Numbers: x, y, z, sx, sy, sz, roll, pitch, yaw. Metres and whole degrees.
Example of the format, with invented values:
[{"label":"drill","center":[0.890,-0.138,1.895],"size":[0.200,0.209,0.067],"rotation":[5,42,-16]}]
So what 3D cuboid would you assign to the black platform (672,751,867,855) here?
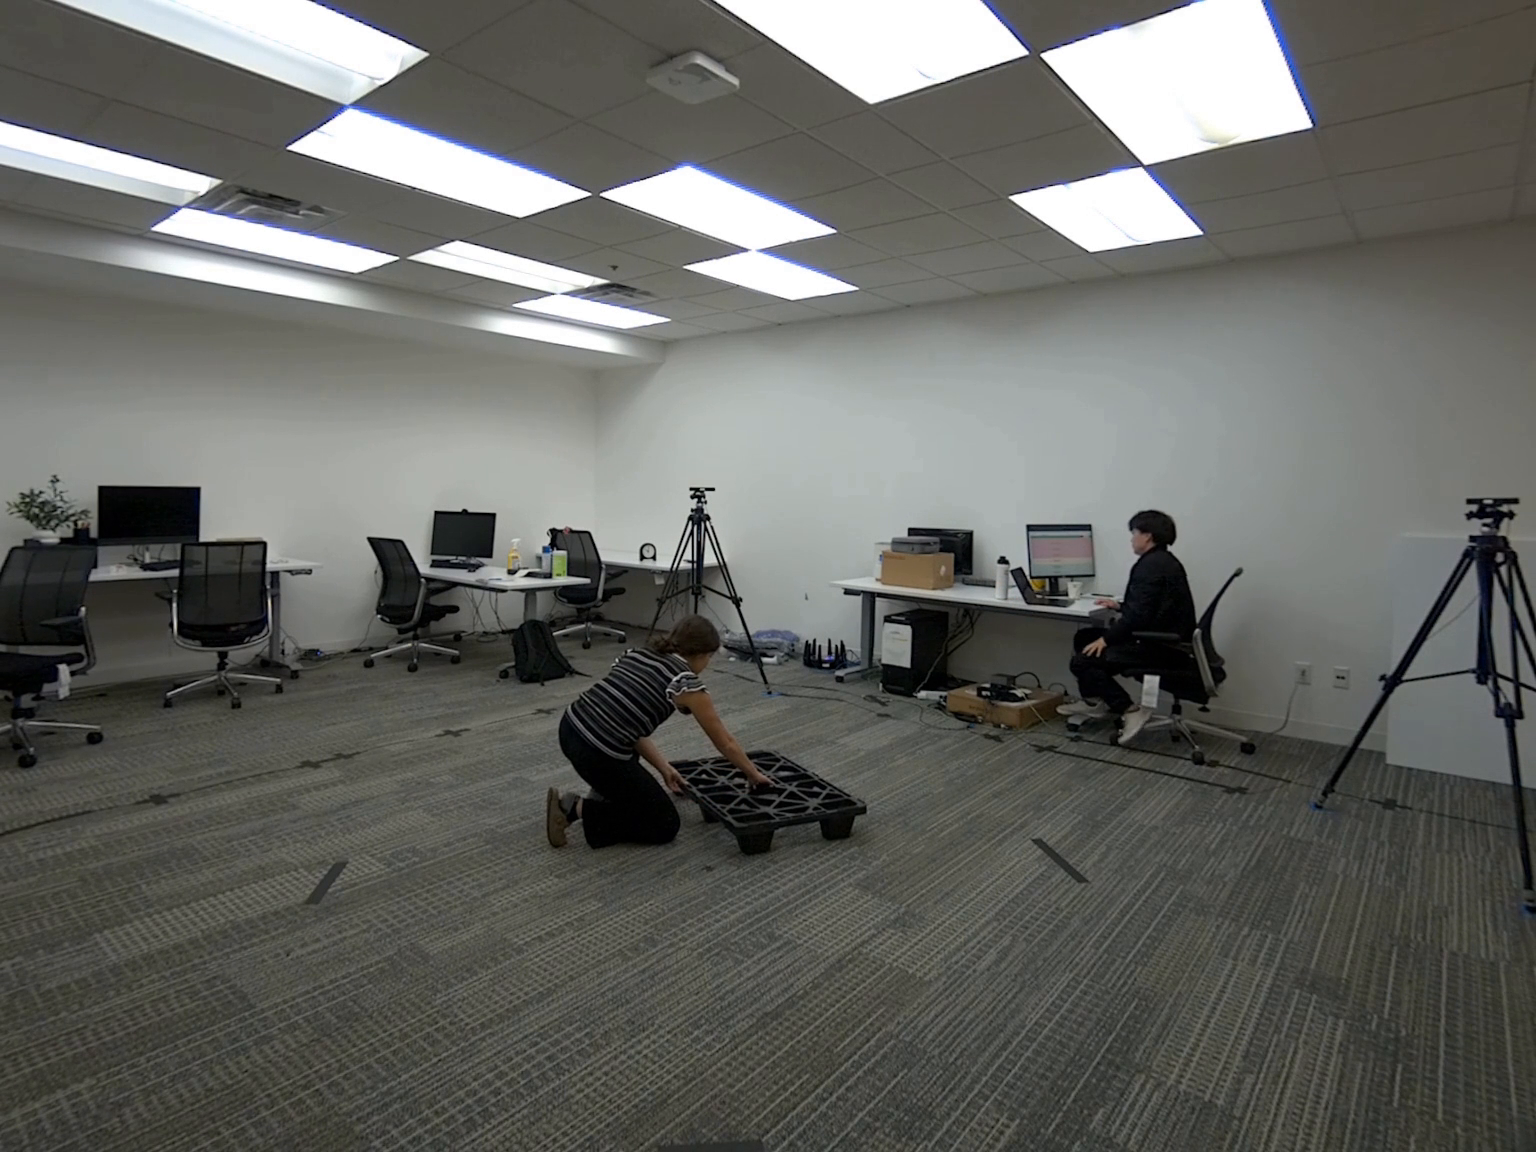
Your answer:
[{"label":"black platform","center":[-0.061,0.952,3.651],"size":[0.590,0.143,0.829],"rotation":[-1,6,-27]}]
